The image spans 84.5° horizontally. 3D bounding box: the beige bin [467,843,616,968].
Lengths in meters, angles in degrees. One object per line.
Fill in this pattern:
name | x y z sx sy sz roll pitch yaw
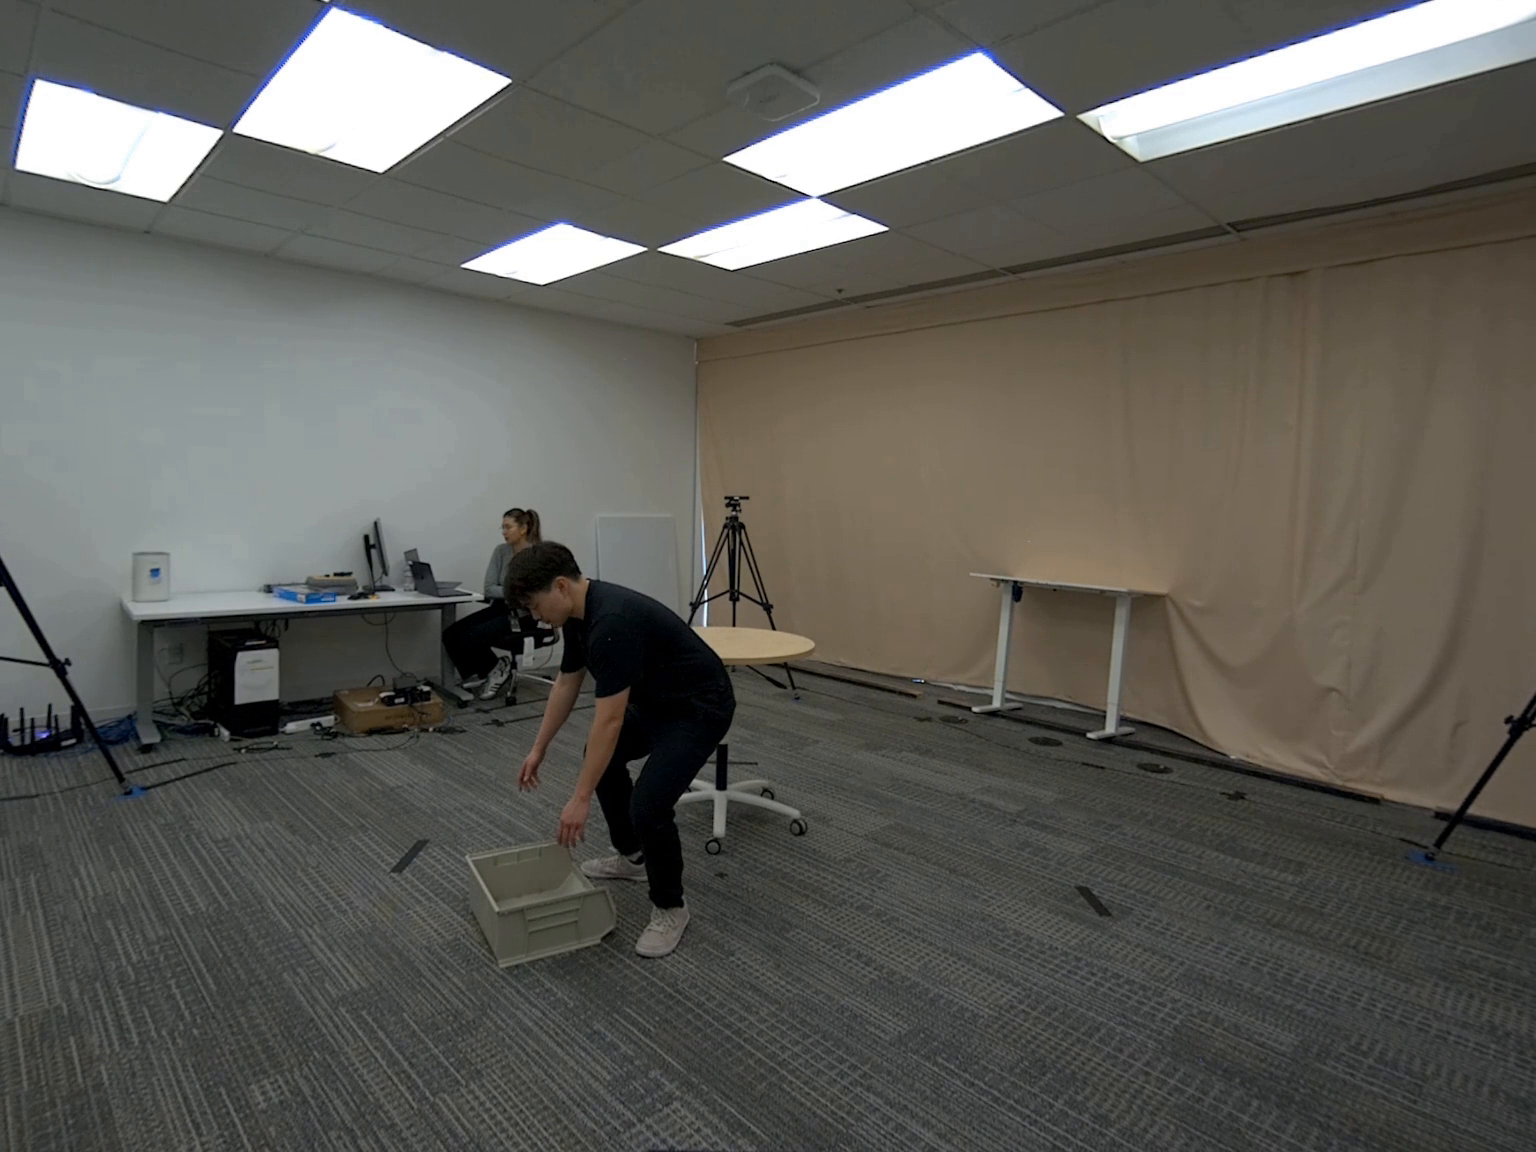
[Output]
beige bin | -0.747 1.040 2.716 0.370 0.188 0.432 -3 6 -31
